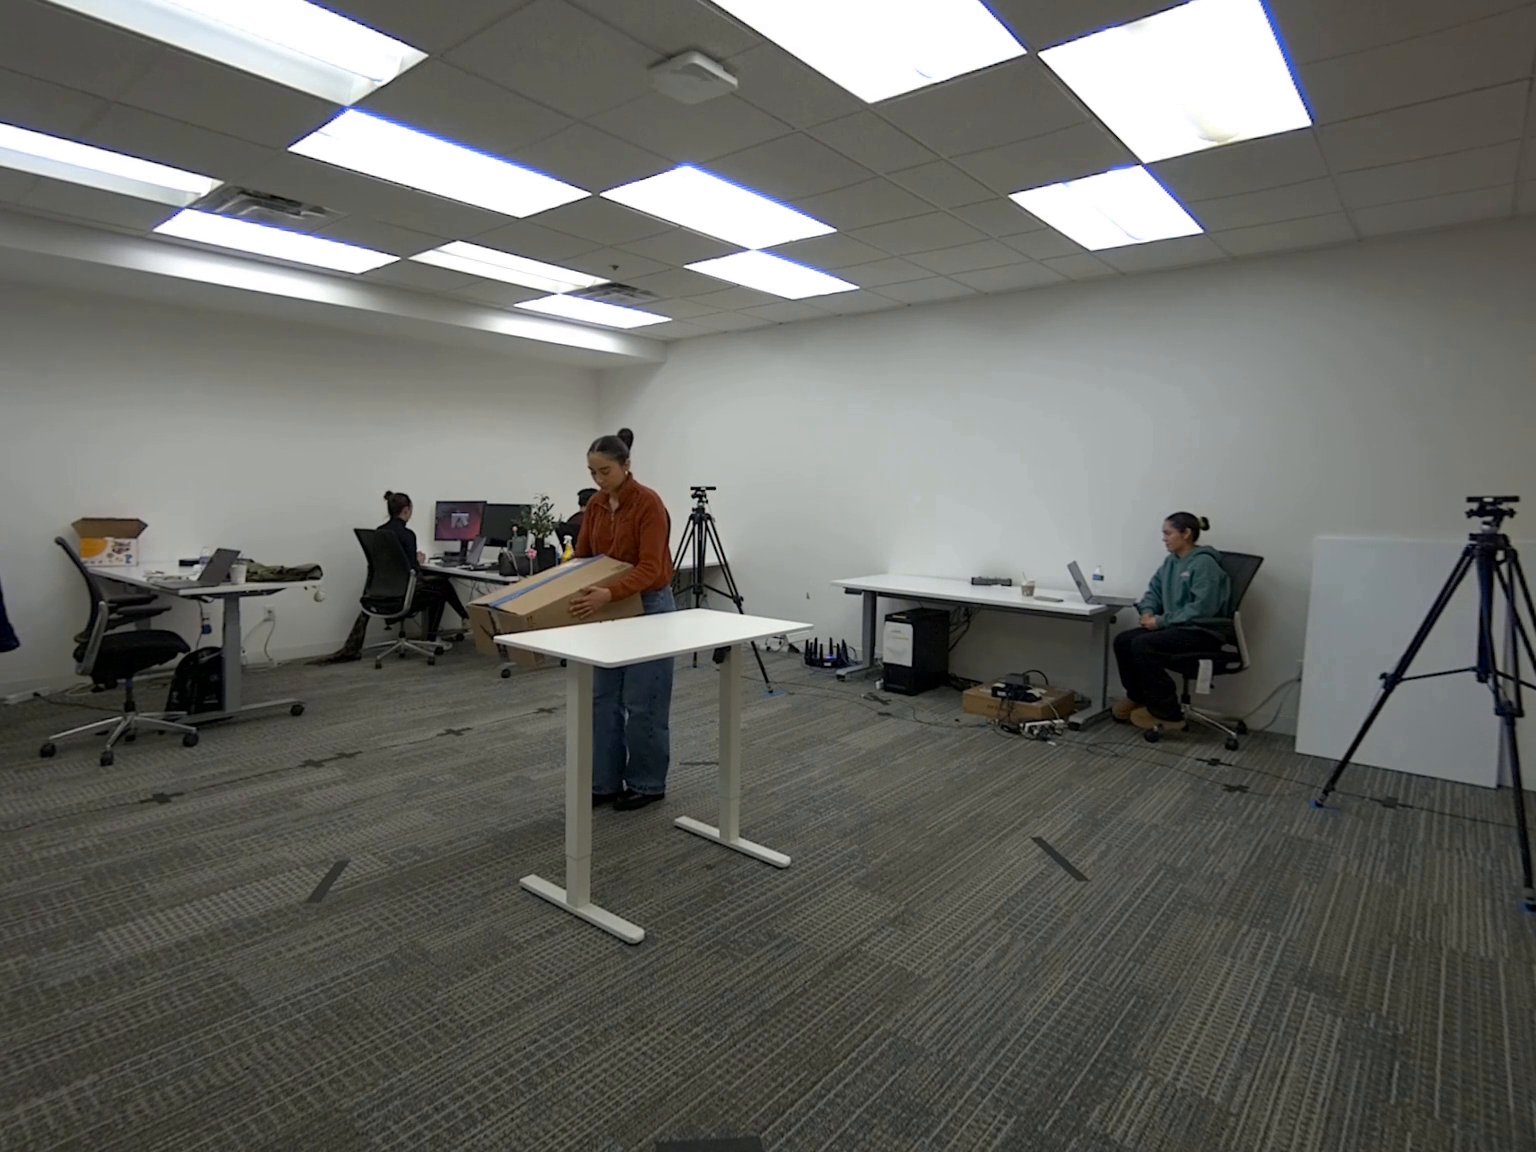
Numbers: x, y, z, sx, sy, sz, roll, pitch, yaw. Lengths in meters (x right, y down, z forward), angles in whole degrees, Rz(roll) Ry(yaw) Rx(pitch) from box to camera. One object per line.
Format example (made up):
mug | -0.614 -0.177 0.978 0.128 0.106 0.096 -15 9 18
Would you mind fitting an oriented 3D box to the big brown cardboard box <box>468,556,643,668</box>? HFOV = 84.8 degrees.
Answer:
big brown cardboard box | -0.886 0.127 3.497 0.432 0.229 0.580 5 24 42
